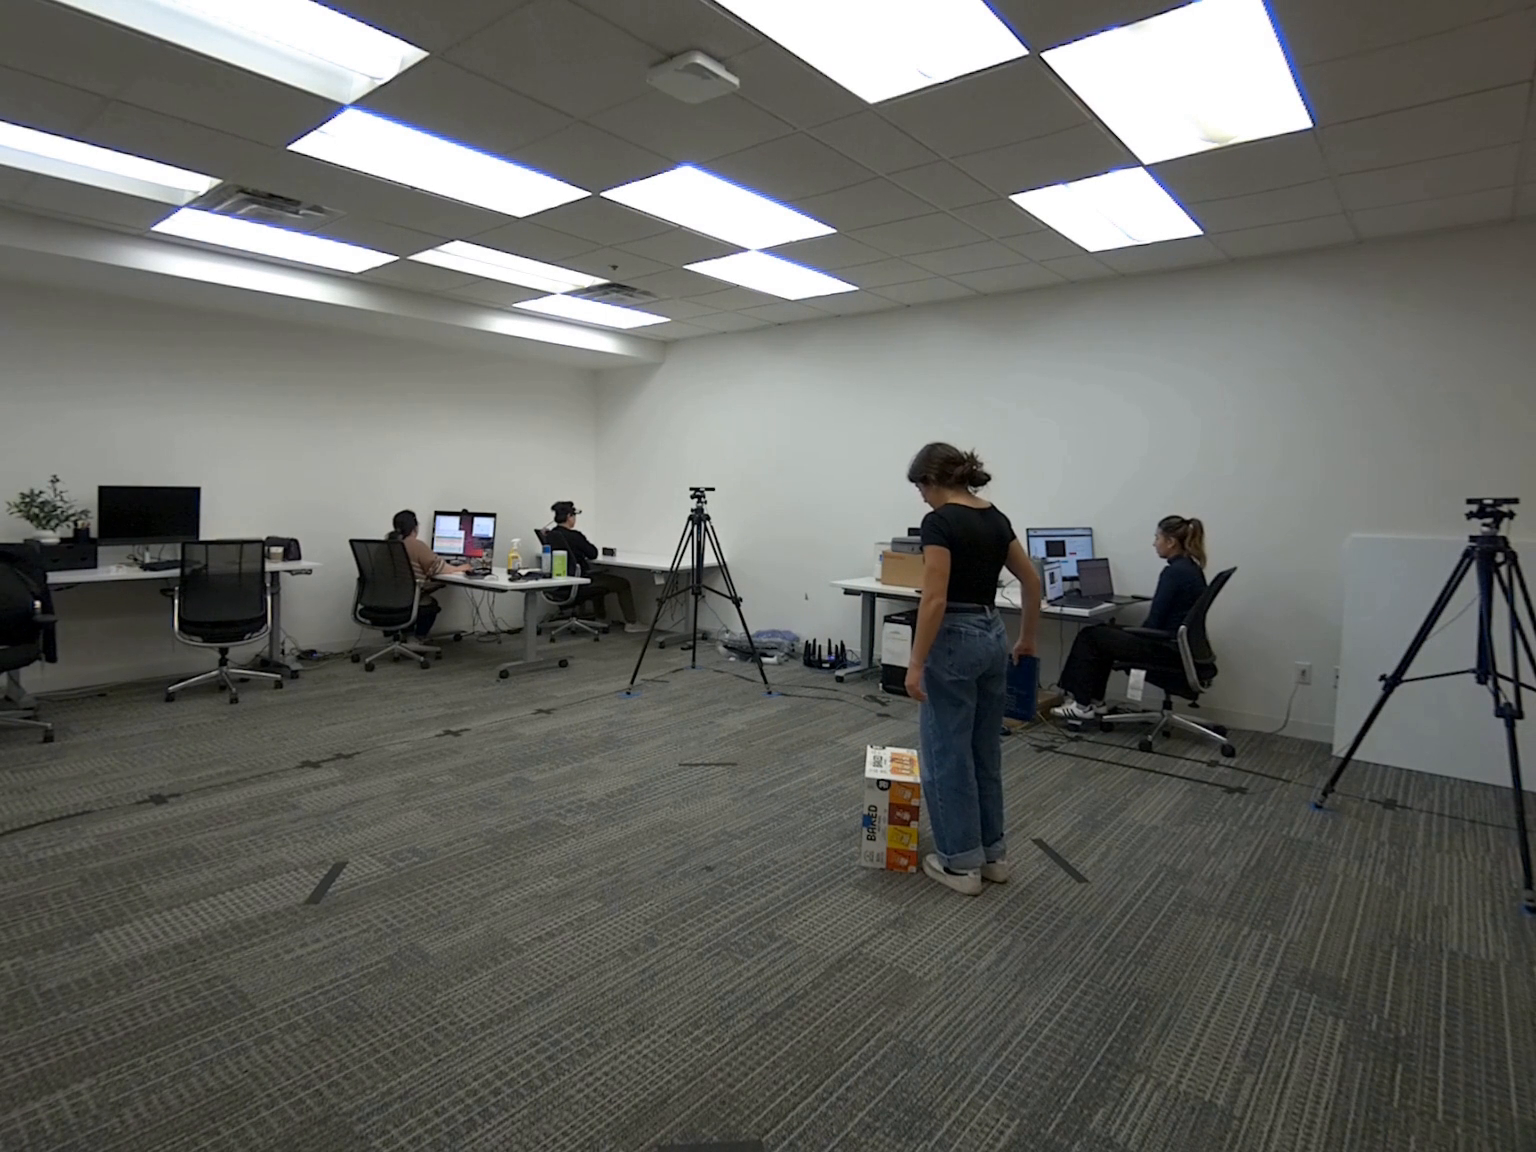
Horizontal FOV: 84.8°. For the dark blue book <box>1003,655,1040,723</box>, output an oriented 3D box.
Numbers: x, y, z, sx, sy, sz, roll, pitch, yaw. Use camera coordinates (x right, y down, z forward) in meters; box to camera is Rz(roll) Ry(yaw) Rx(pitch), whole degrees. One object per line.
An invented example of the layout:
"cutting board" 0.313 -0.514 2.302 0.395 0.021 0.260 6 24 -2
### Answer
"dark blue book" 0.935 0.416 3.237 0.169 0.245 0.043 4 -2 40
